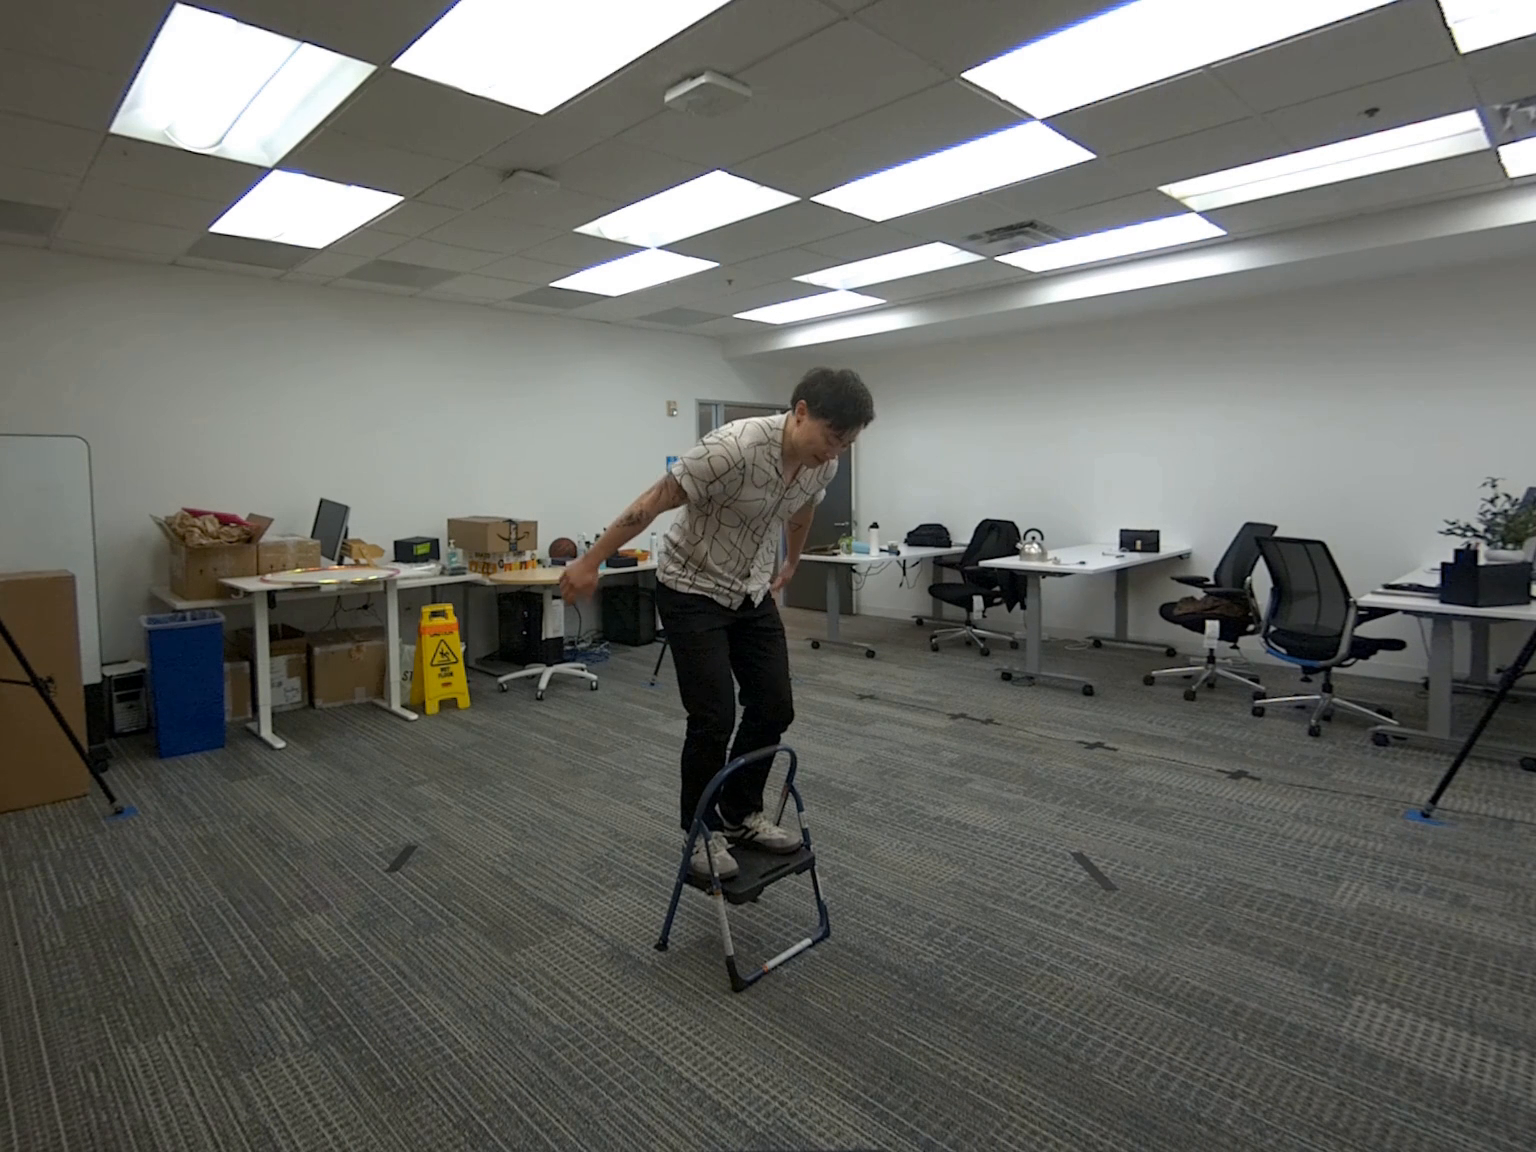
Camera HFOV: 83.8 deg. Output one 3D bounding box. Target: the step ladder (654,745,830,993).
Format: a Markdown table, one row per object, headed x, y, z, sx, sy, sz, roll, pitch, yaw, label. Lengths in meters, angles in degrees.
| x | y | z | sx | sy | sz | roll | pitch | yaw | label |
| --- | --- | --- | --- | --- | --- | --- | --- | --- | --- |
| -0.071 | 0.803 | 2.563 | 0.360 | 0.603 | 0.419 | 4 | 7 | 43 | step ladder |
